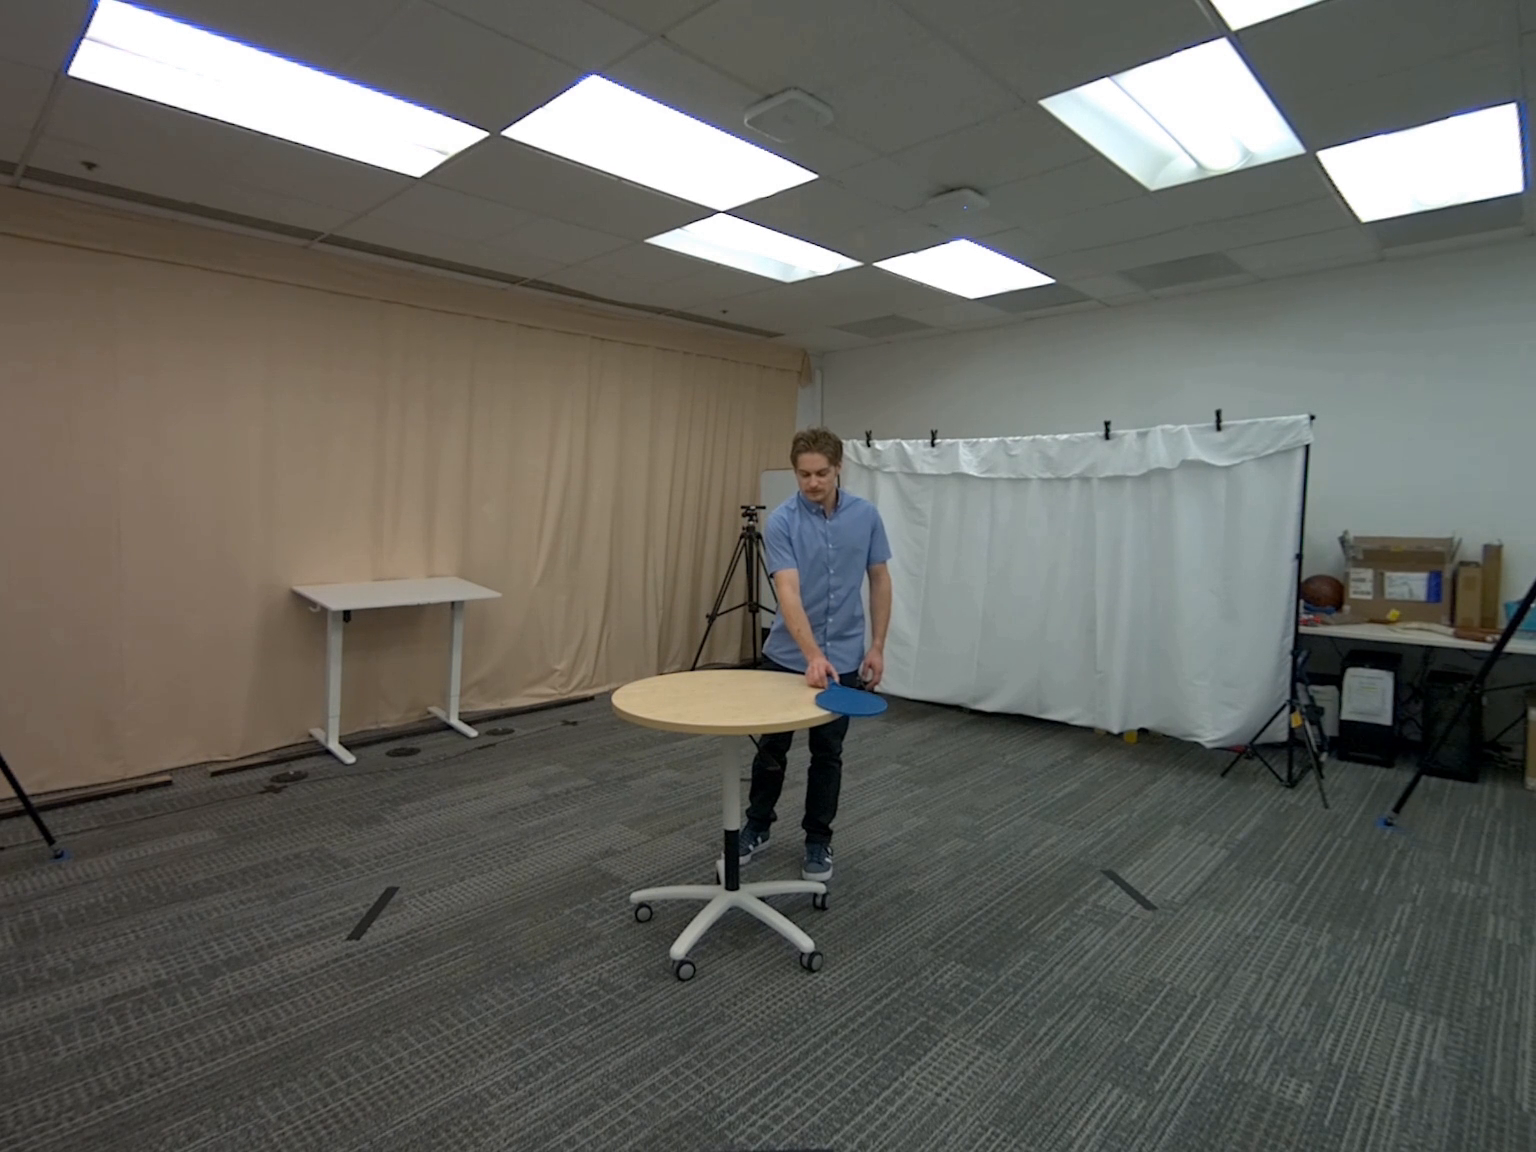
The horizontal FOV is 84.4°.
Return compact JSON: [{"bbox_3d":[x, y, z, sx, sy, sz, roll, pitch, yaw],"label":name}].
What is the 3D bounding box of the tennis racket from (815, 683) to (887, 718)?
[{"bbox_3d":[0.238,0.376,2.649,0.212,0.031,0.439,-1,7,-10],"label":"tennis racket"}]
